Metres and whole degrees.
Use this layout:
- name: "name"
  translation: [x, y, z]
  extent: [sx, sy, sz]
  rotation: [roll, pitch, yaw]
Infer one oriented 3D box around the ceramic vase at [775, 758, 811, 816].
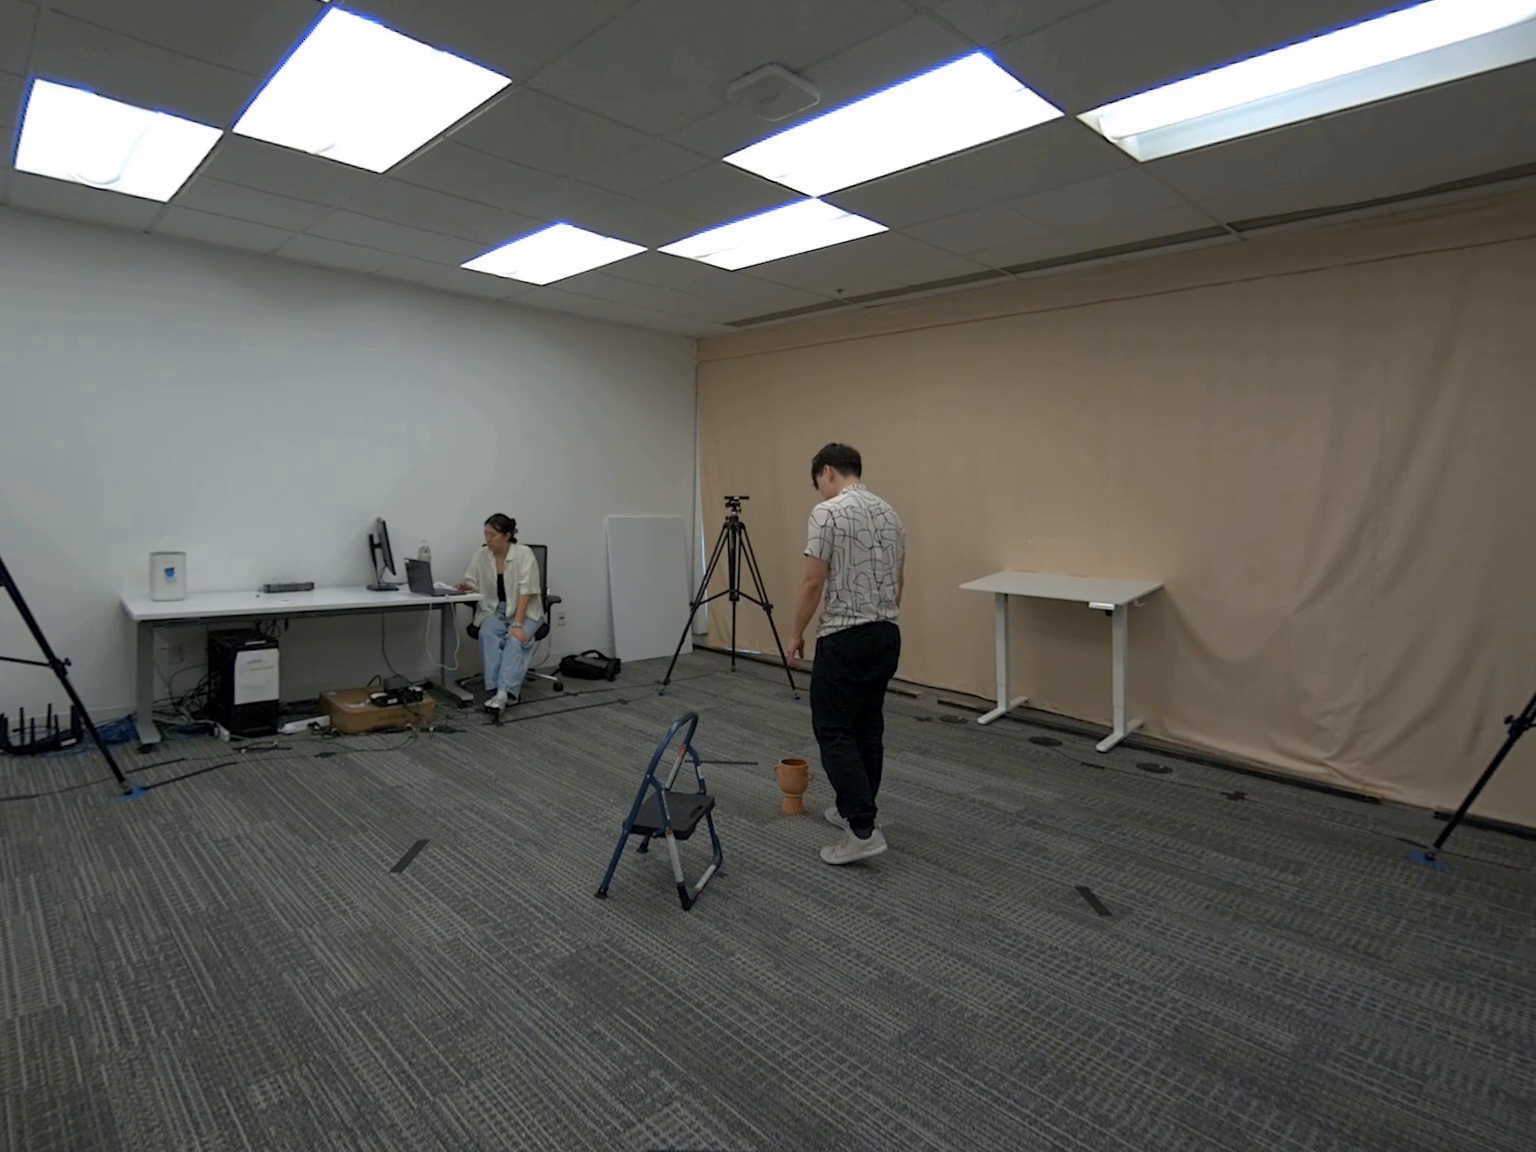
- name: "ceramic vase"
  translation: [0.102, 0.940, 3.771]
  extent: [0.132, 0.219, 0.162]
  rotation: [1, 4, -24]
